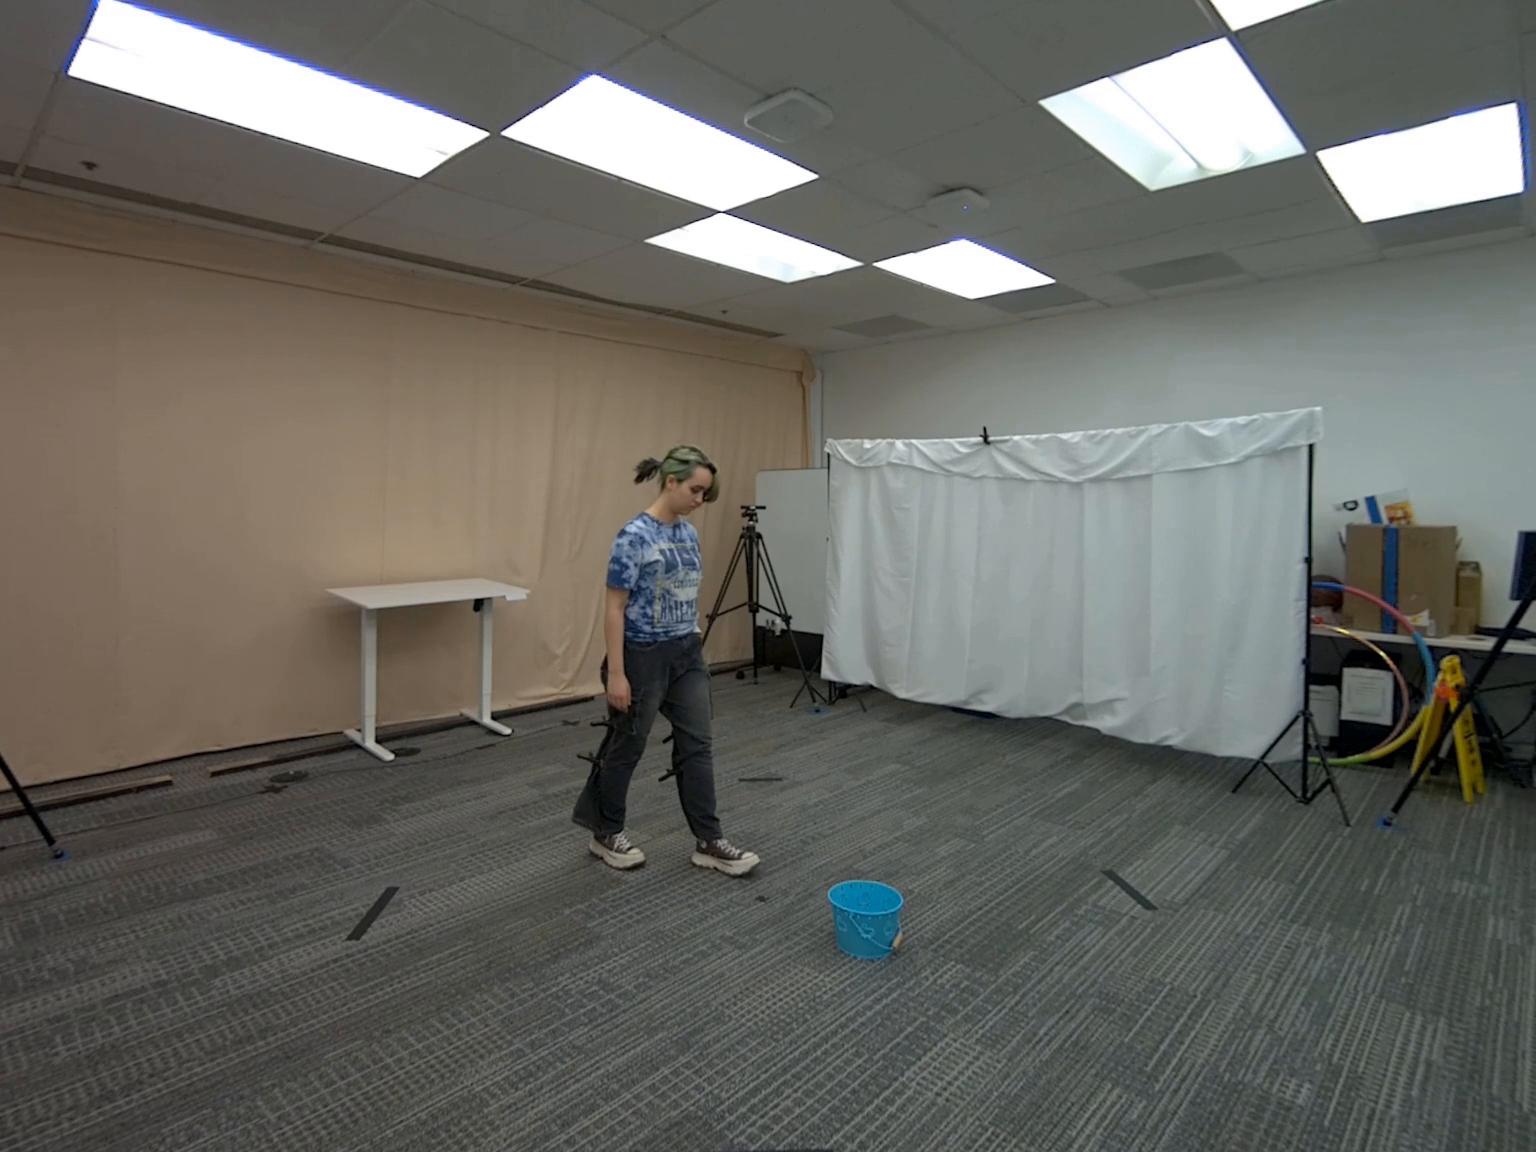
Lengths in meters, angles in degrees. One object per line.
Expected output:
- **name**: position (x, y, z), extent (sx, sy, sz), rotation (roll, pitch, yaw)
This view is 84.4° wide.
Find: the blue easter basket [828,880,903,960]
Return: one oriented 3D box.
- **blue easter basket**: position (0.313, 1.092, 2.665), extent (0.243, 0.155, 0.244), rotation (0, 4, -2)
